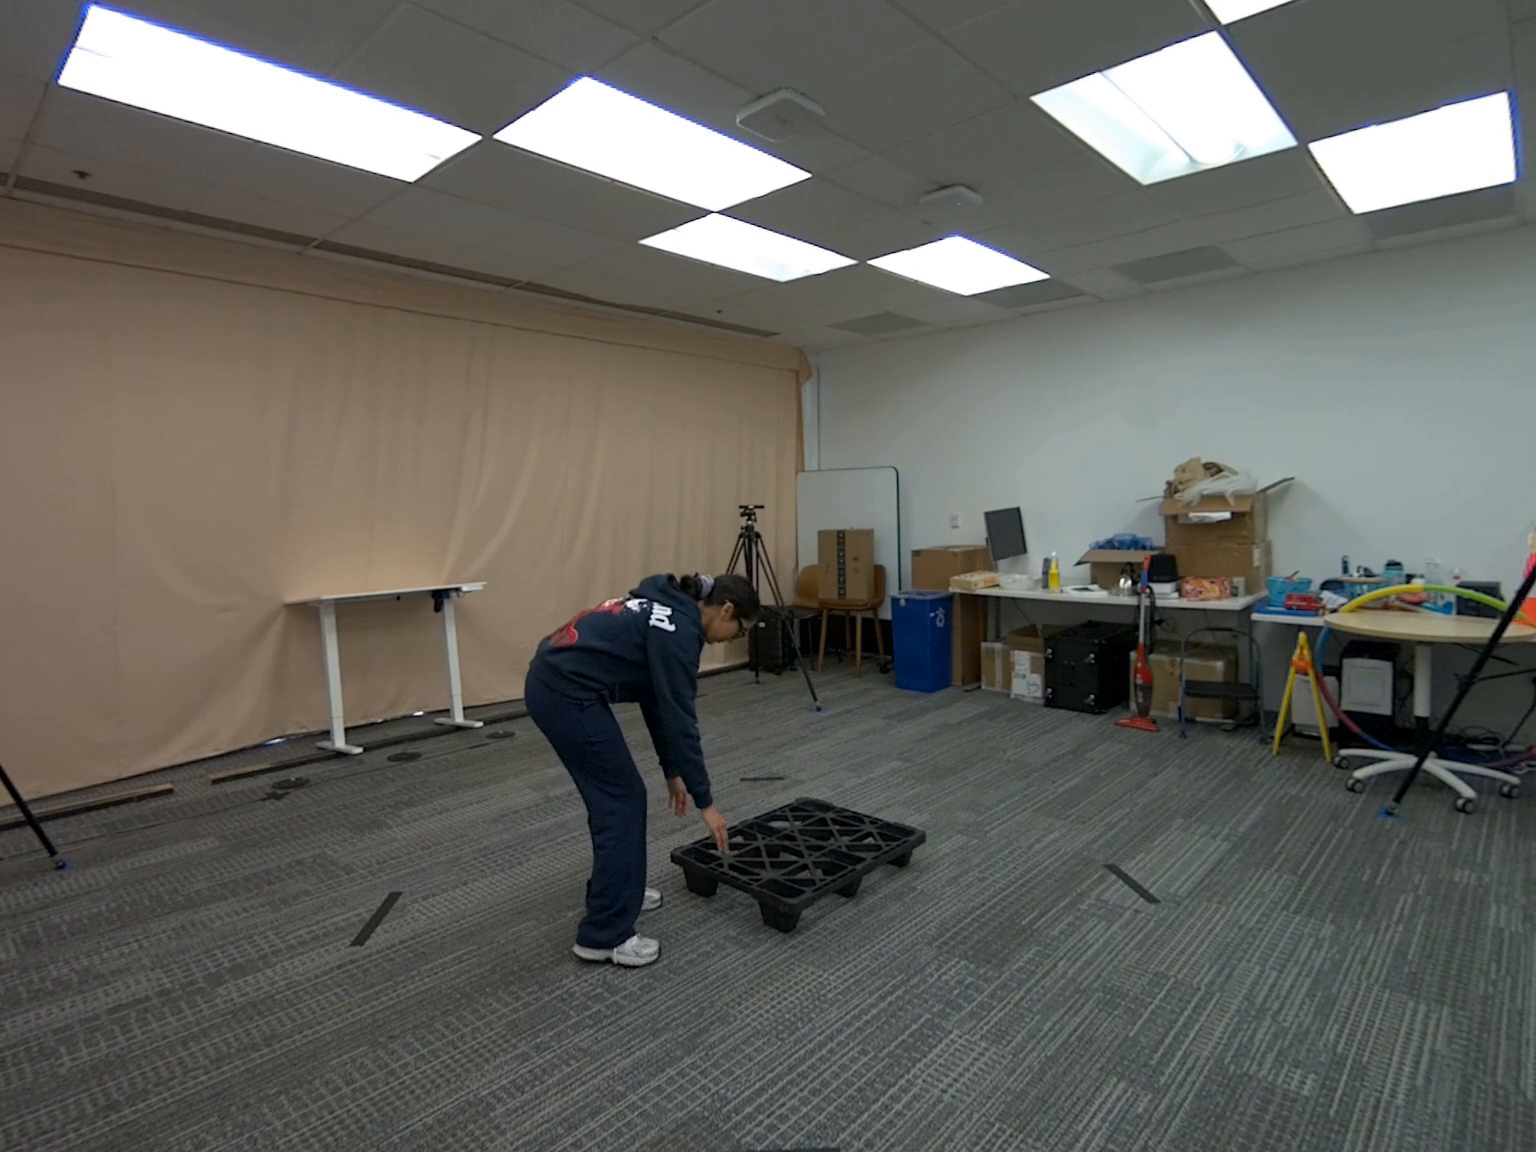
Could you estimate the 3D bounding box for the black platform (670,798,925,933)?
[{"bbox_3d":[0.123,1.059,3.145,0.625,0.143,0.781,3,6,43],"label":"black platform"}]
